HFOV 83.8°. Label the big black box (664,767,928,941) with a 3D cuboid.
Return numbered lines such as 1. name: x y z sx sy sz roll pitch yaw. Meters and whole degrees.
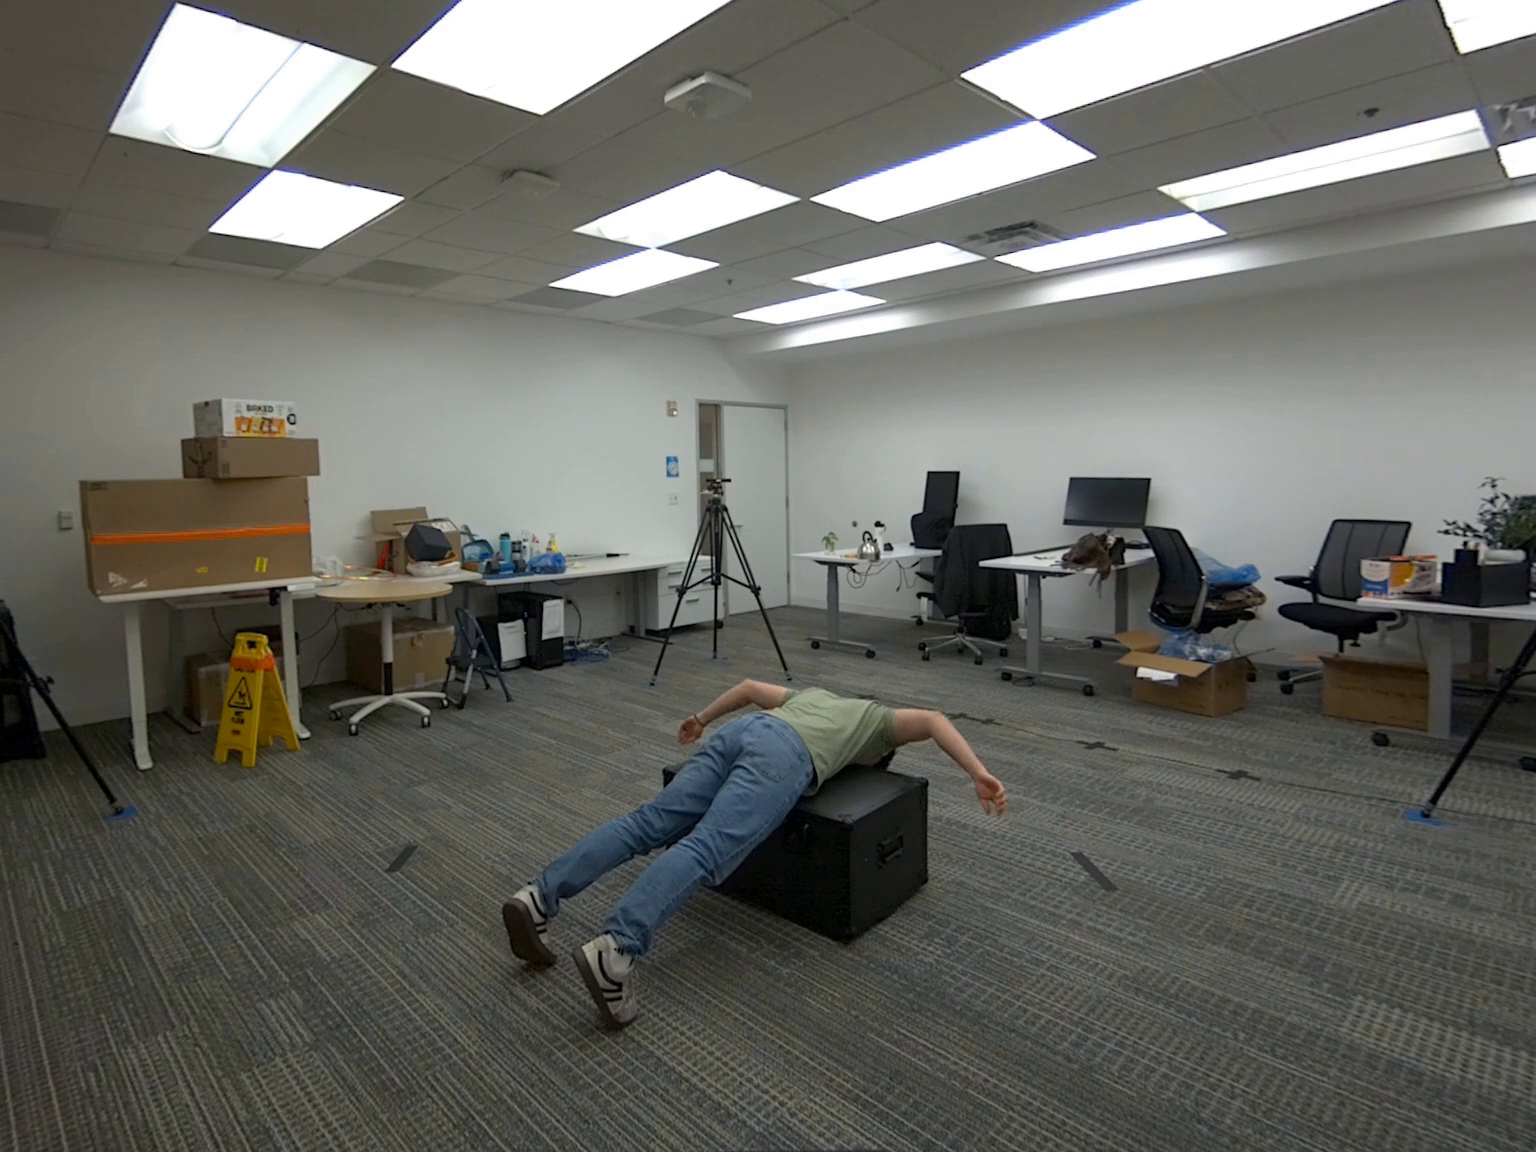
1. big black box: 0.062 0.871 2.983 0.888 0.394 0.508 6 8 39
